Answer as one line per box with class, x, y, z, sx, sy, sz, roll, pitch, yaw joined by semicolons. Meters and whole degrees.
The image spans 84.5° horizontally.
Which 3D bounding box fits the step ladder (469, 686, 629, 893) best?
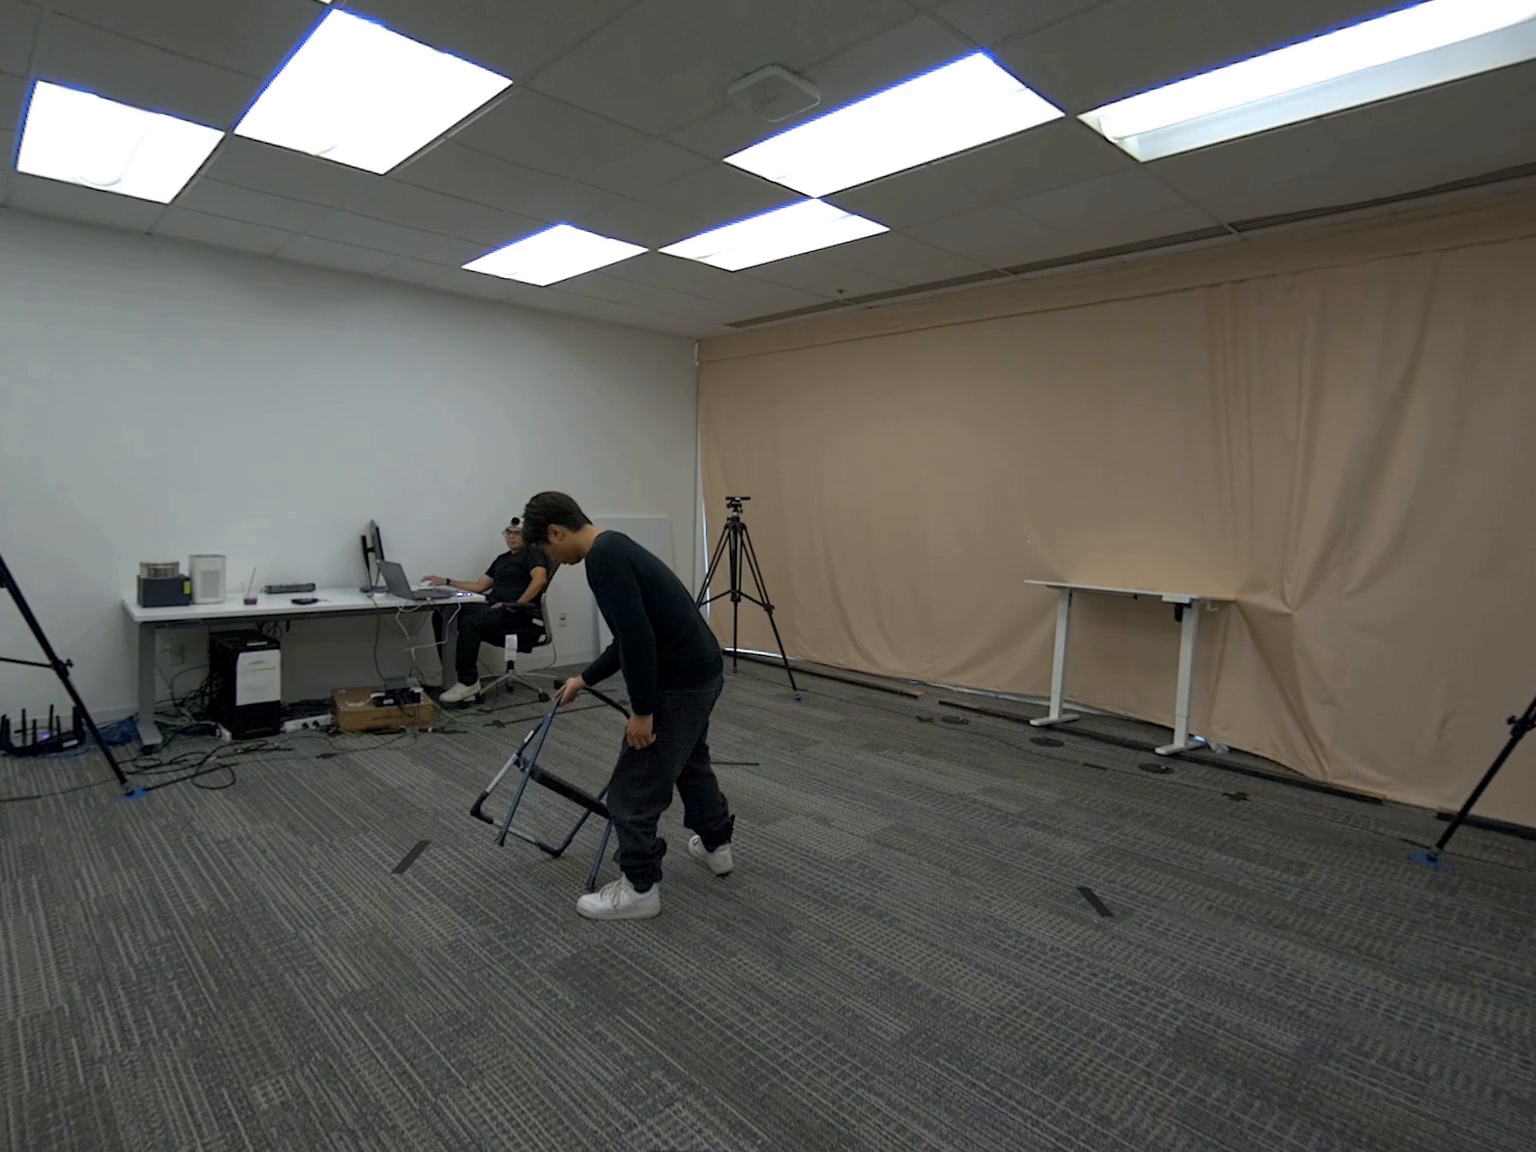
step ladder;-0.717;0.727;3.093;0.418;0.608;0.358;40;-19;-31
